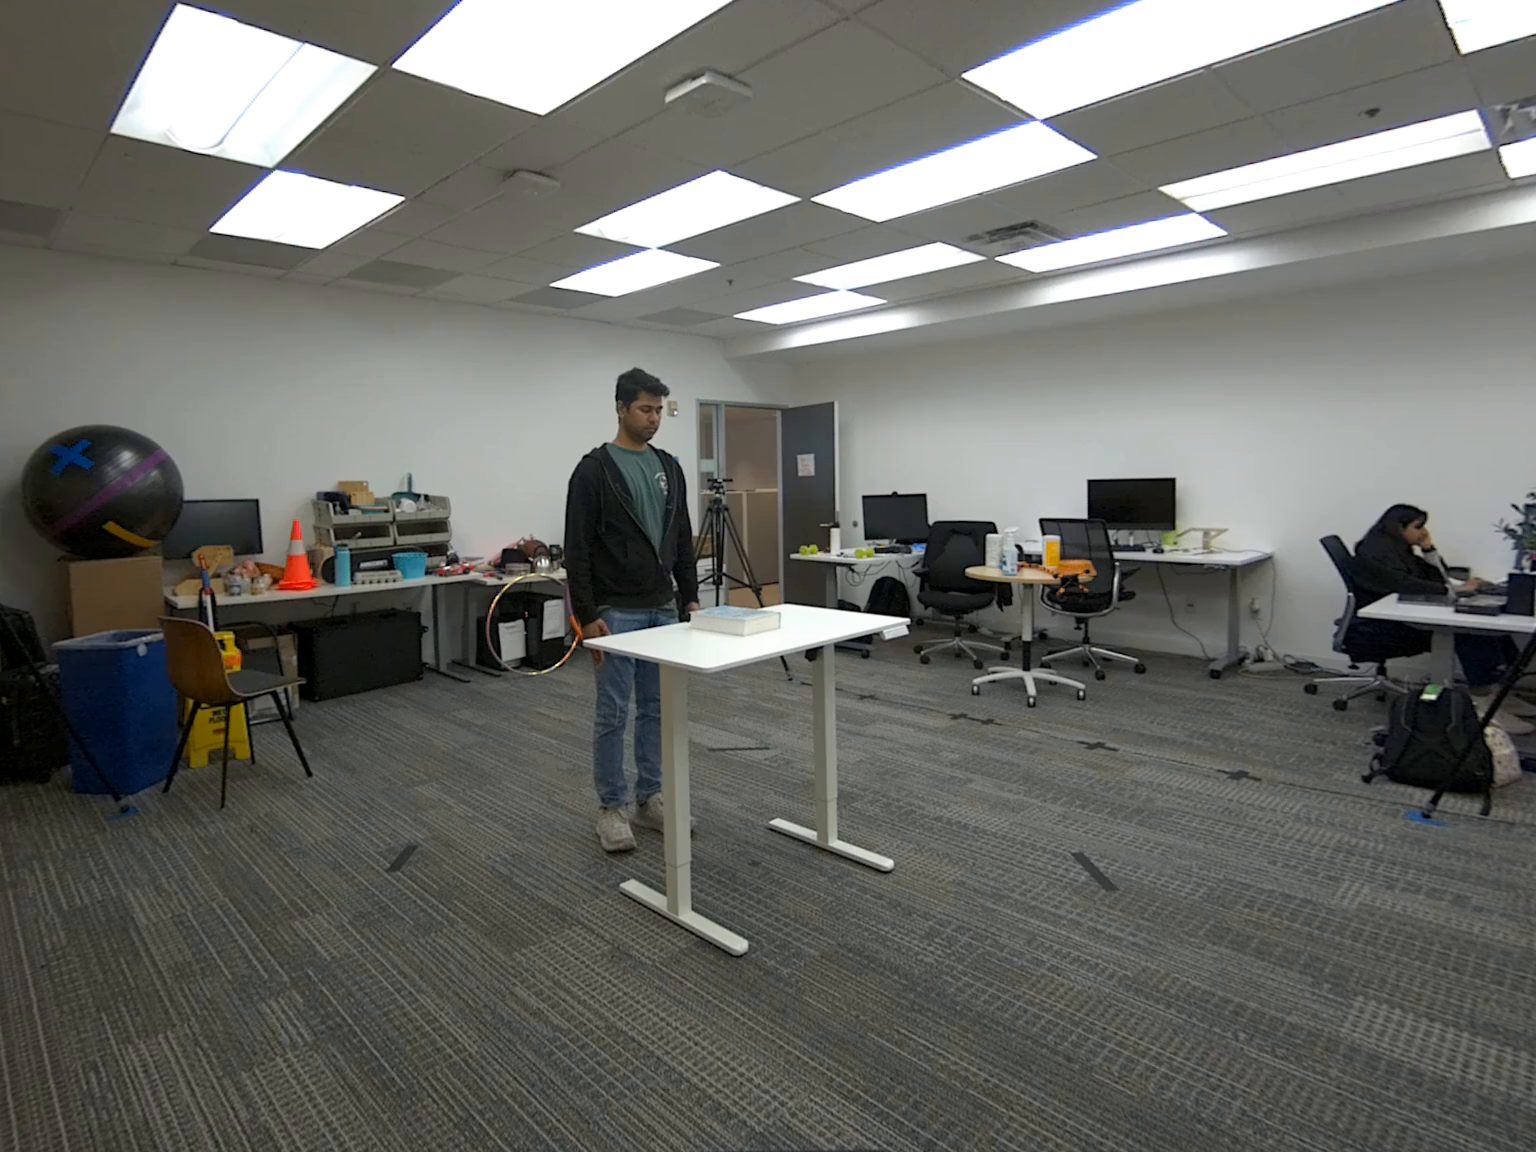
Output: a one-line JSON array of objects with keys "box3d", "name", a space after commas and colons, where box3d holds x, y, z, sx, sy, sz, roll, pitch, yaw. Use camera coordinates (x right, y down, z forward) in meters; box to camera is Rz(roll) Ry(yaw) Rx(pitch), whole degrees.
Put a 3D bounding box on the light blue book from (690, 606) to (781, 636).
[{"box3d": [-0.116, 0.155, 2.941, 0.269, 0.059, 0.186, 5, 8, 41], "name": "light blue book"}]
